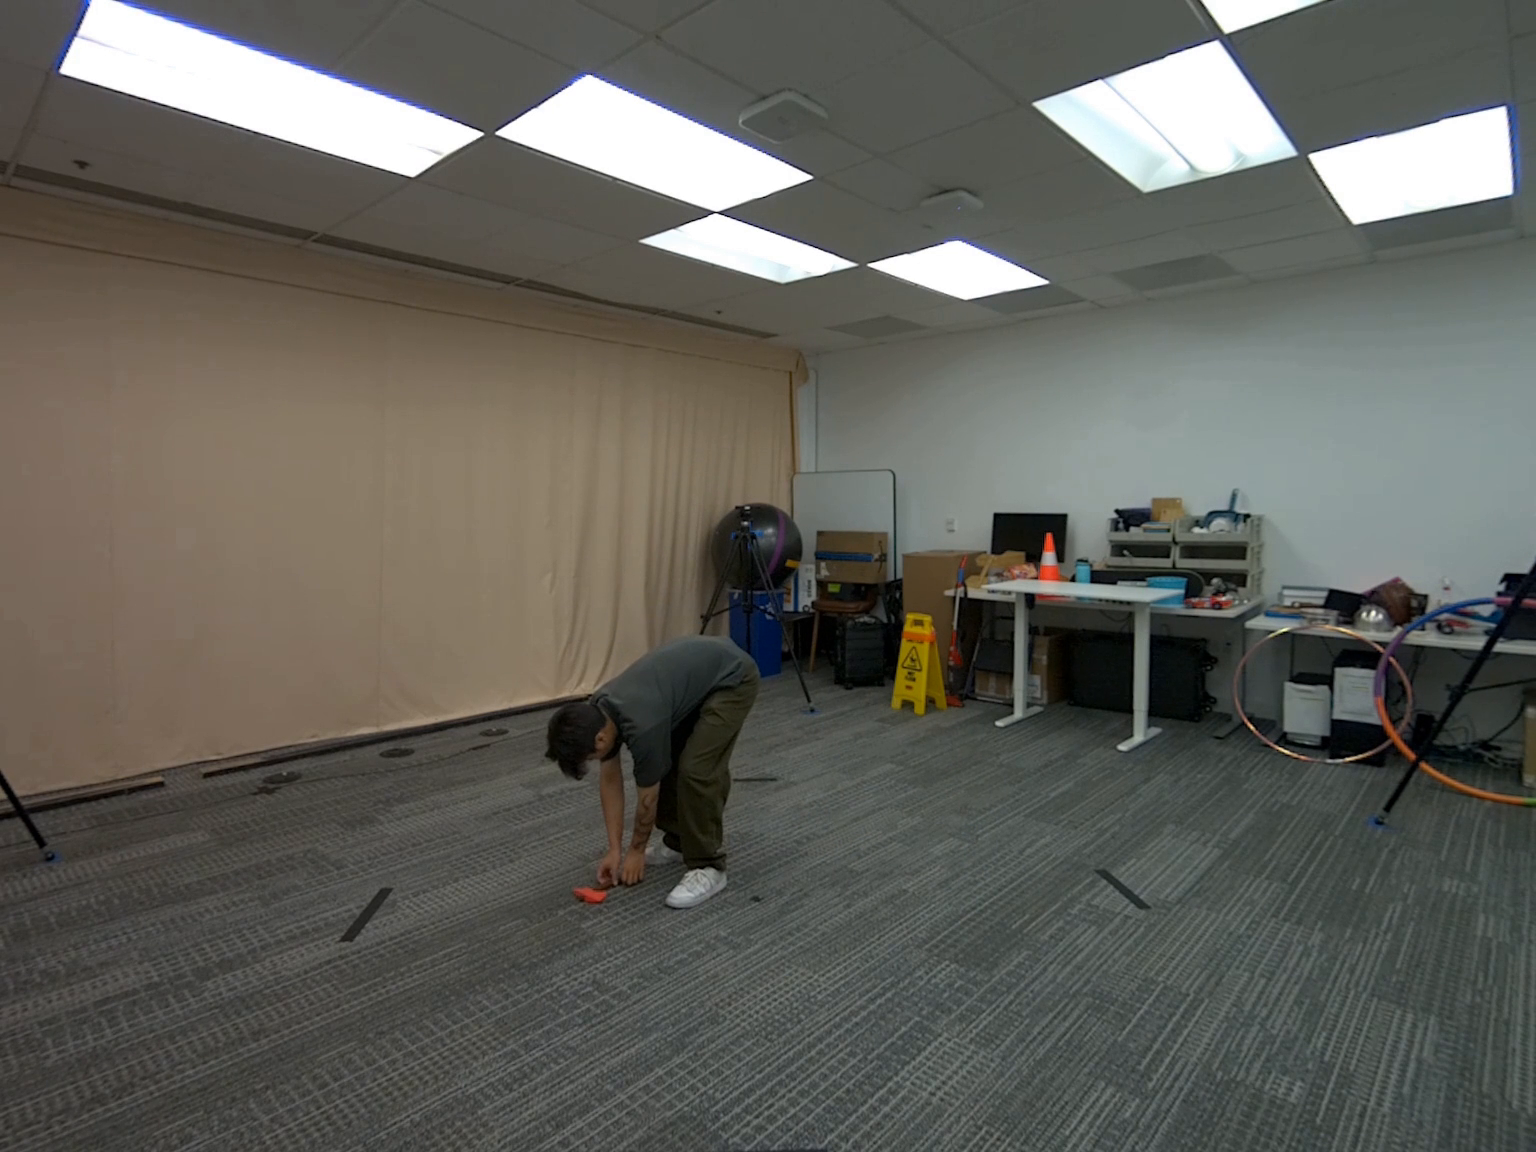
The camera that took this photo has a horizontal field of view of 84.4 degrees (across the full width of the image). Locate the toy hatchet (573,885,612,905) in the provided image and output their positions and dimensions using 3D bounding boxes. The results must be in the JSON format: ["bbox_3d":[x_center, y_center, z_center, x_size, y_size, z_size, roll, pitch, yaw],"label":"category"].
[{"bbox_3d":[-0.562,1.136,3.048,0.262,0.029,0.135,1,-2,-32],"label":"toy hatchet"}]
